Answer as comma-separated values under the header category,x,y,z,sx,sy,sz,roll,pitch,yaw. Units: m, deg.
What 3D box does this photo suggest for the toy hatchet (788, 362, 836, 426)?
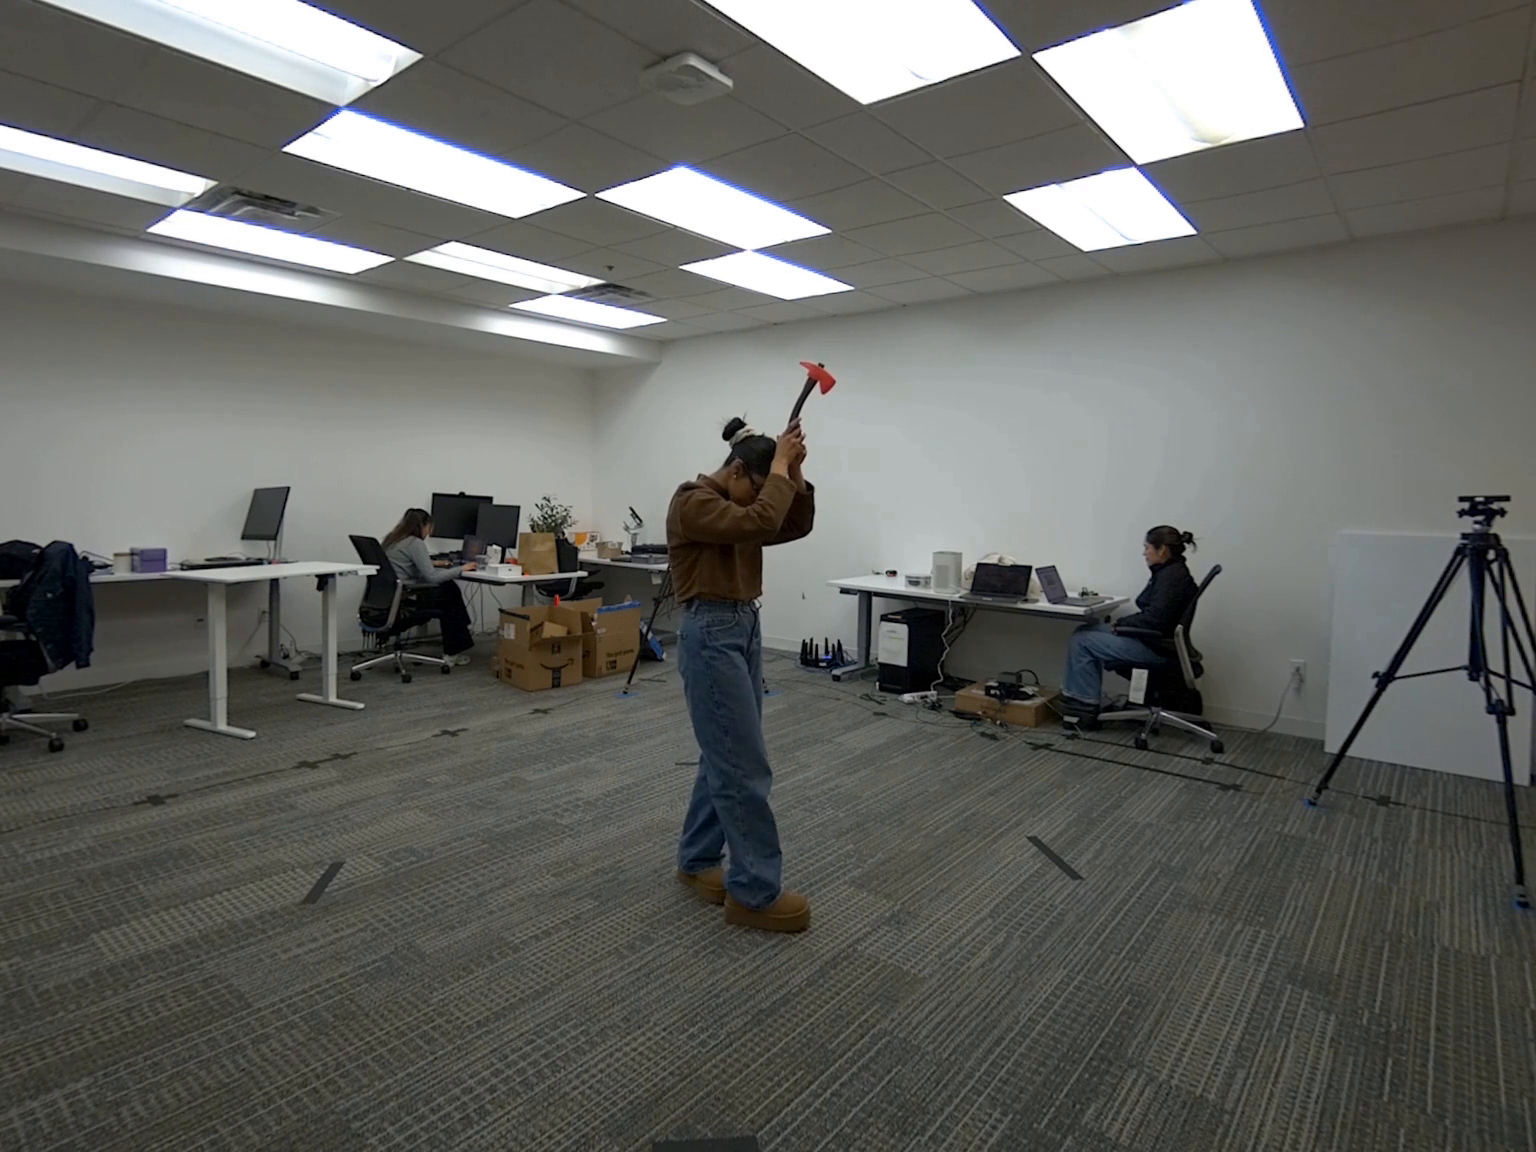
category,x,y,z,sx,sy,sz,roll,pitch,yaw
toy hatchet,0.128,-0.545,2.681,0.134,0.267,0.029,16,13,20
